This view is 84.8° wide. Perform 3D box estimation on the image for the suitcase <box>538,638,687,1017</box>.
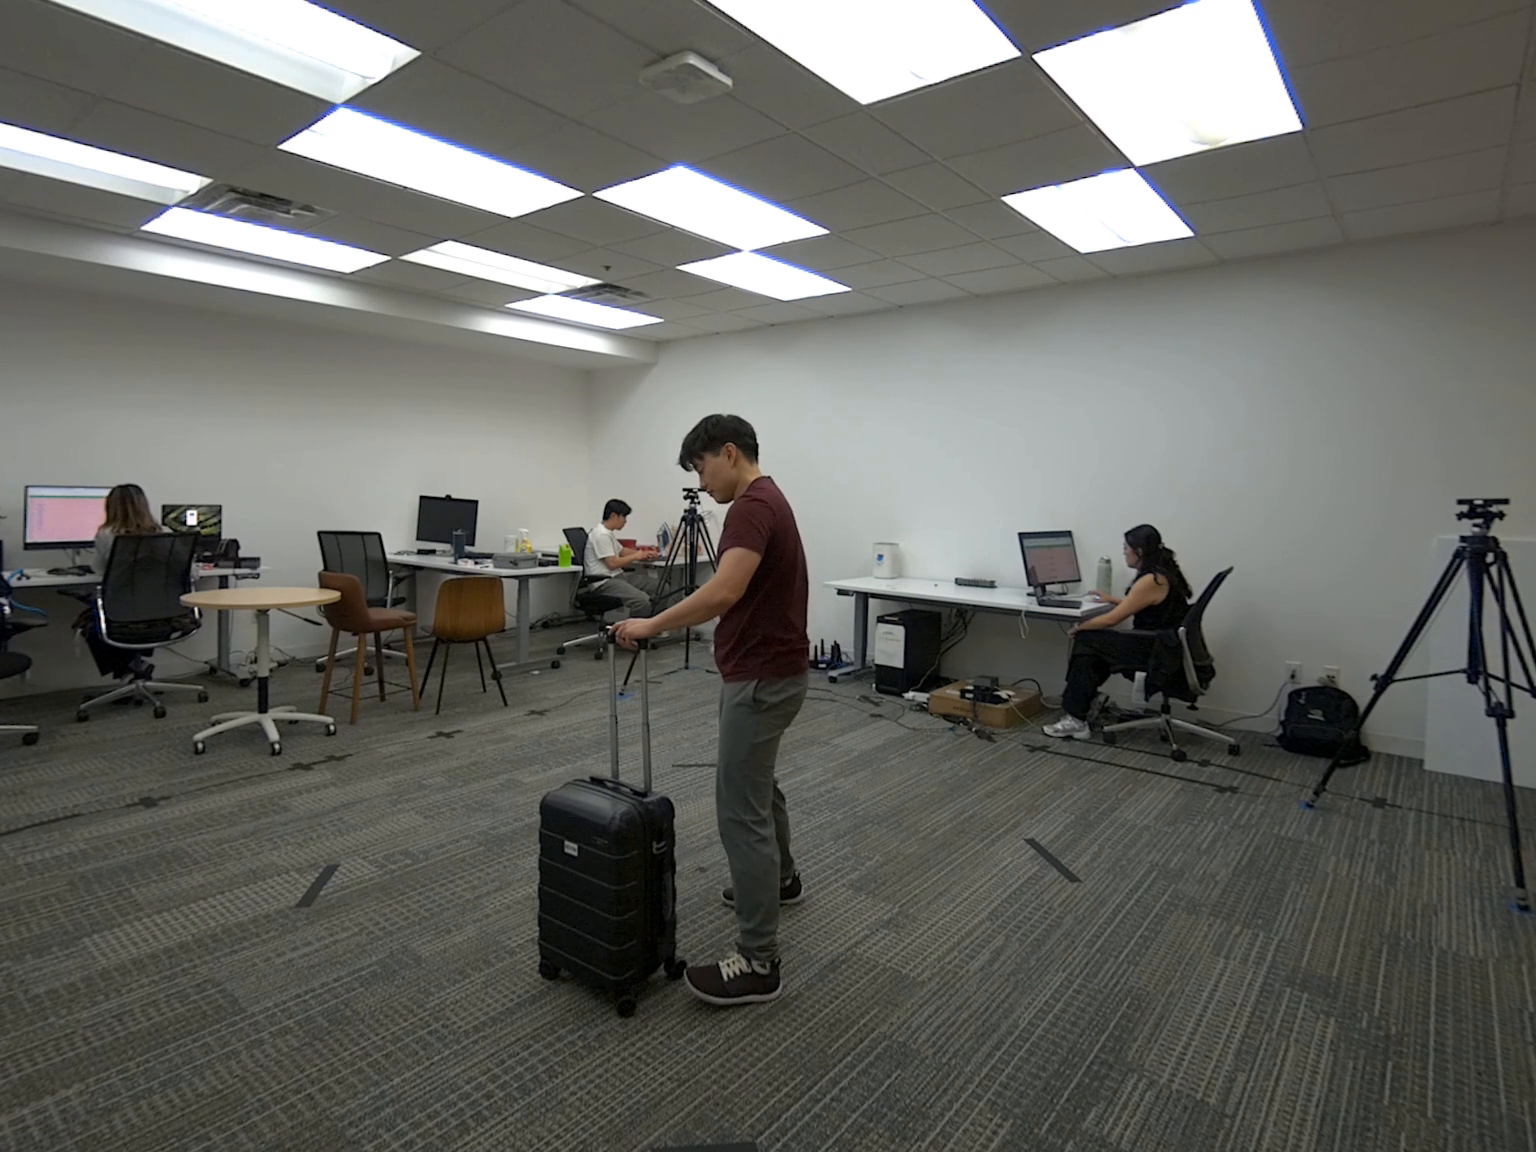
[{"bbox_3d":[-0.464,0.662,2.380,0.396,0.974,0.250,2,6,35],"label":"suitcase"}]
